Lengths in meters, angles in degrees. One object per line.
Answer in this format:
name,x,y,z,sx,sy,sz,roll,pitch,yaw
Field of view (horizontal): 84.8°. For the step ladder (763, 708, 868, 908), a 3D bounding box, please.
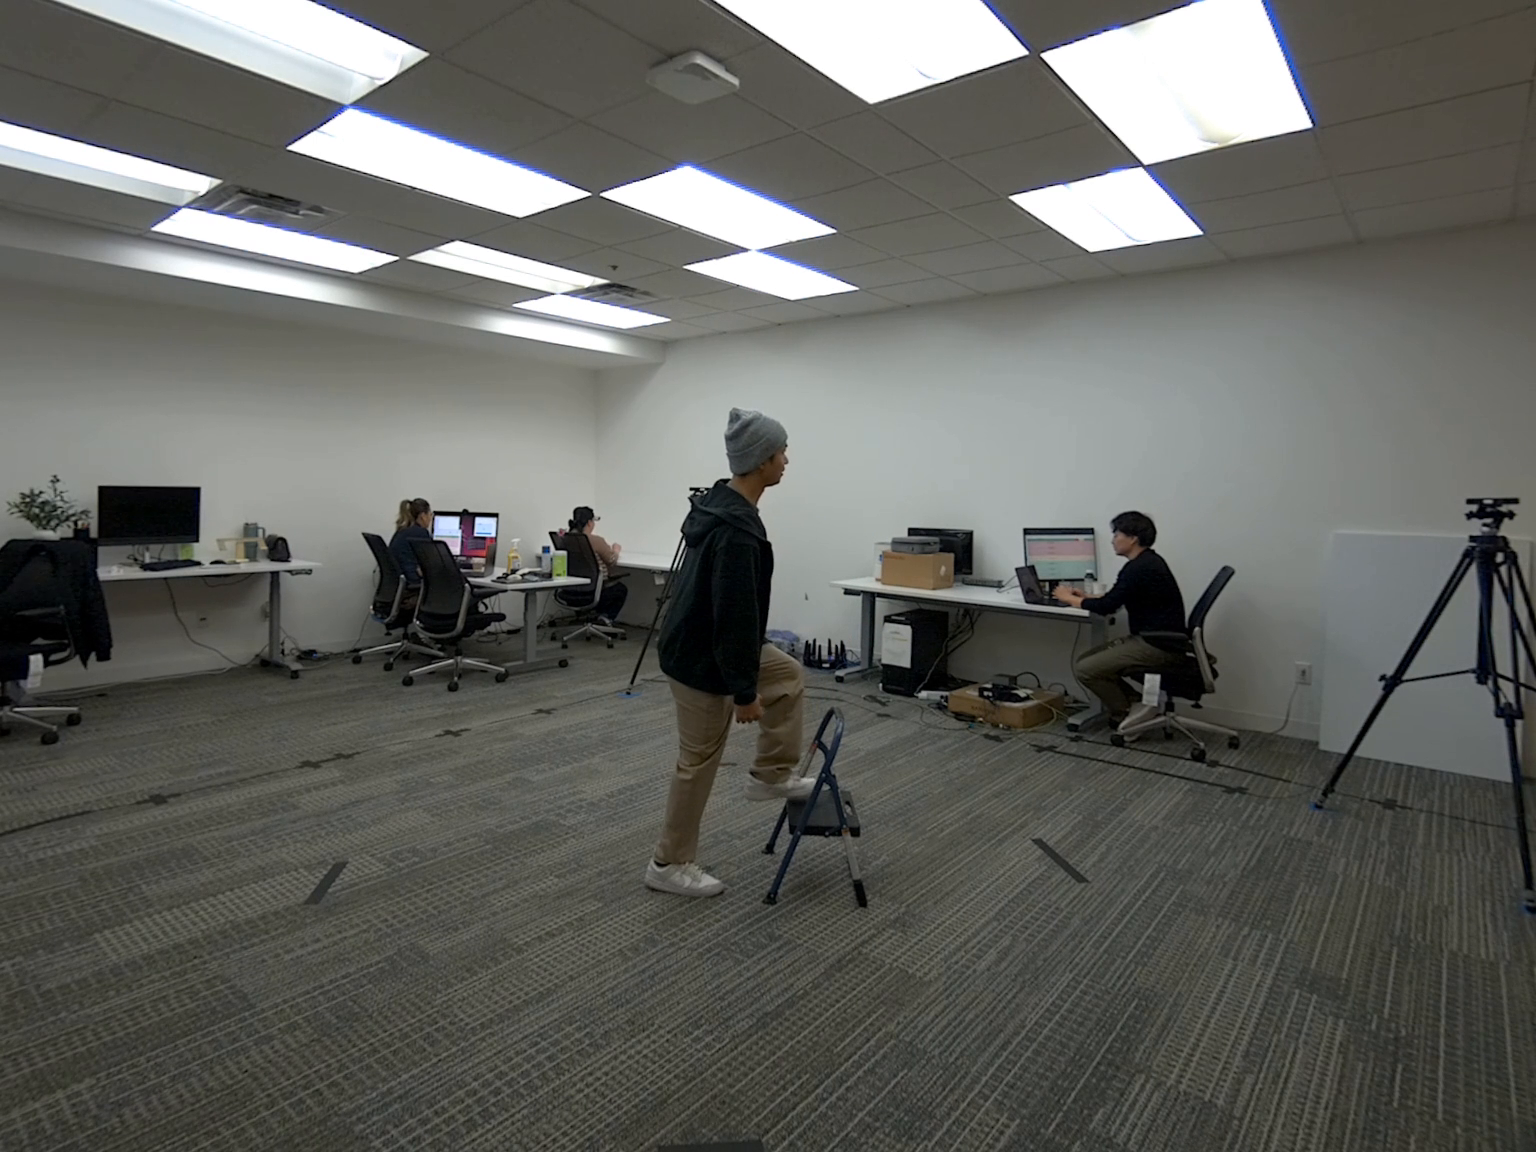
step ladder,0.158,0.783,3.038,0.350,0.604,0.431,1,3,0
